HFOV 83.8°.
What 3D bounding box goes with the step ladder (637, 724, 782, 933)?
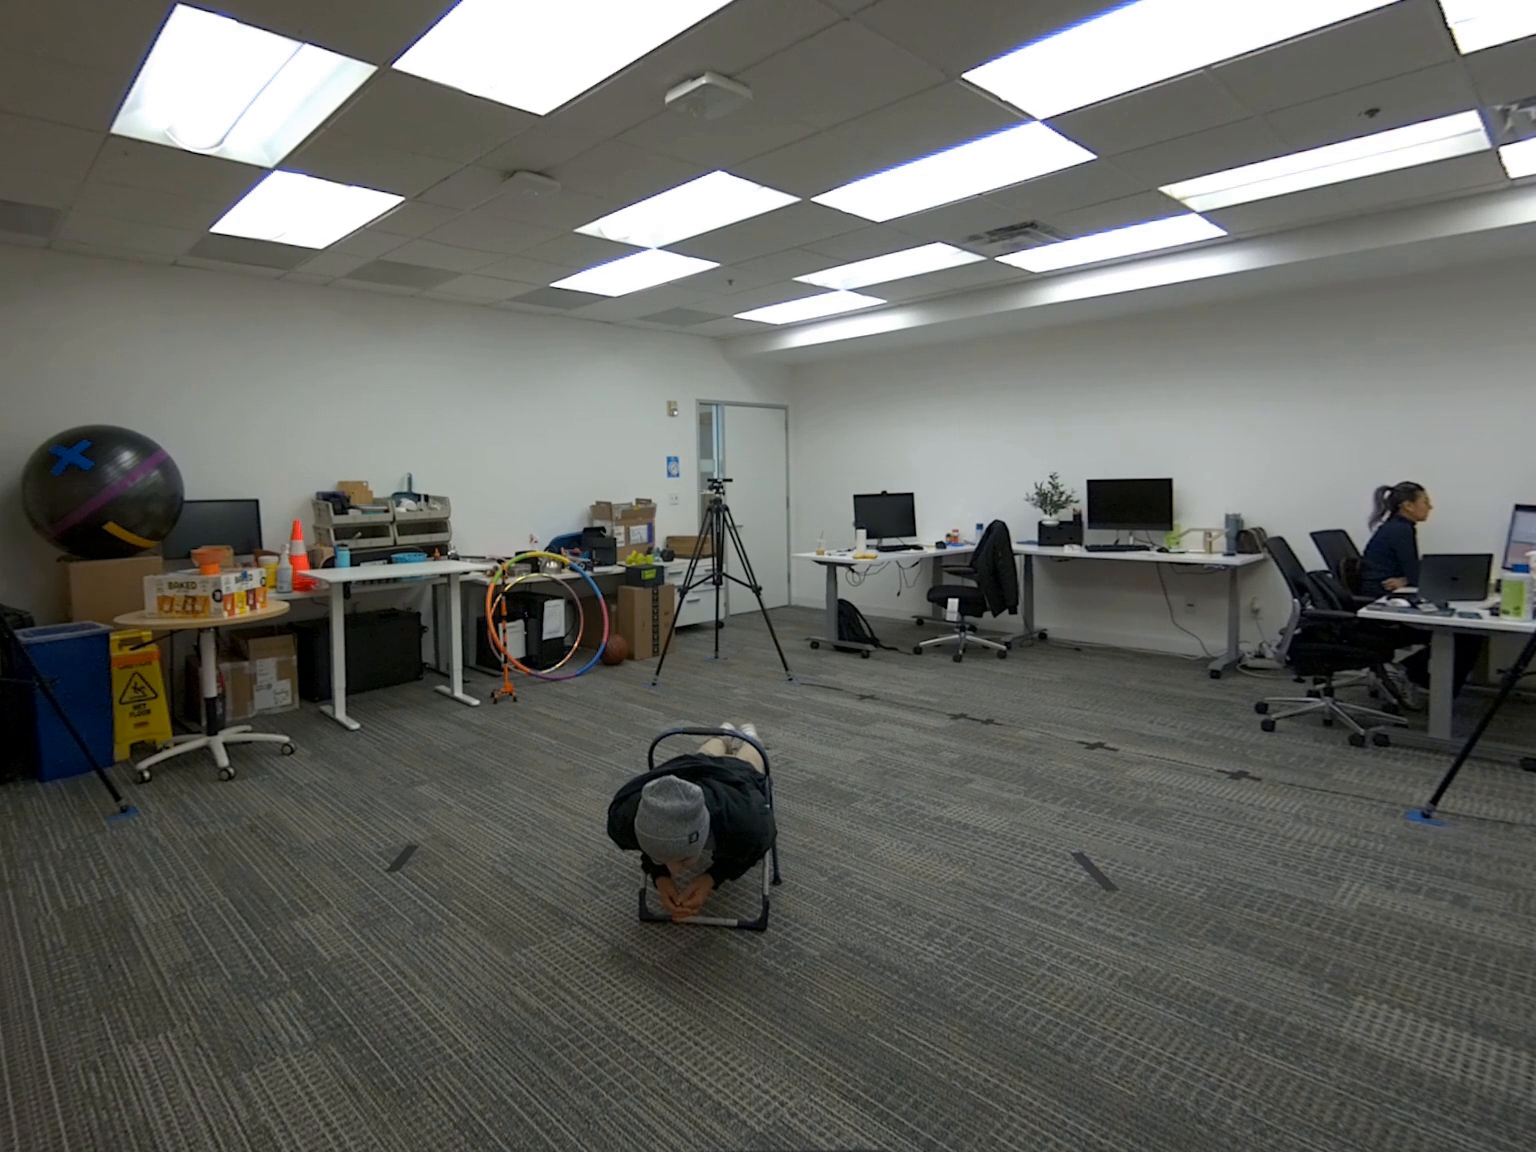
[{"bbox_3d":[-0.184,0.782,2.818,0.434,0.603,0.348,-1,6,8],"label":"step ladder"}]
